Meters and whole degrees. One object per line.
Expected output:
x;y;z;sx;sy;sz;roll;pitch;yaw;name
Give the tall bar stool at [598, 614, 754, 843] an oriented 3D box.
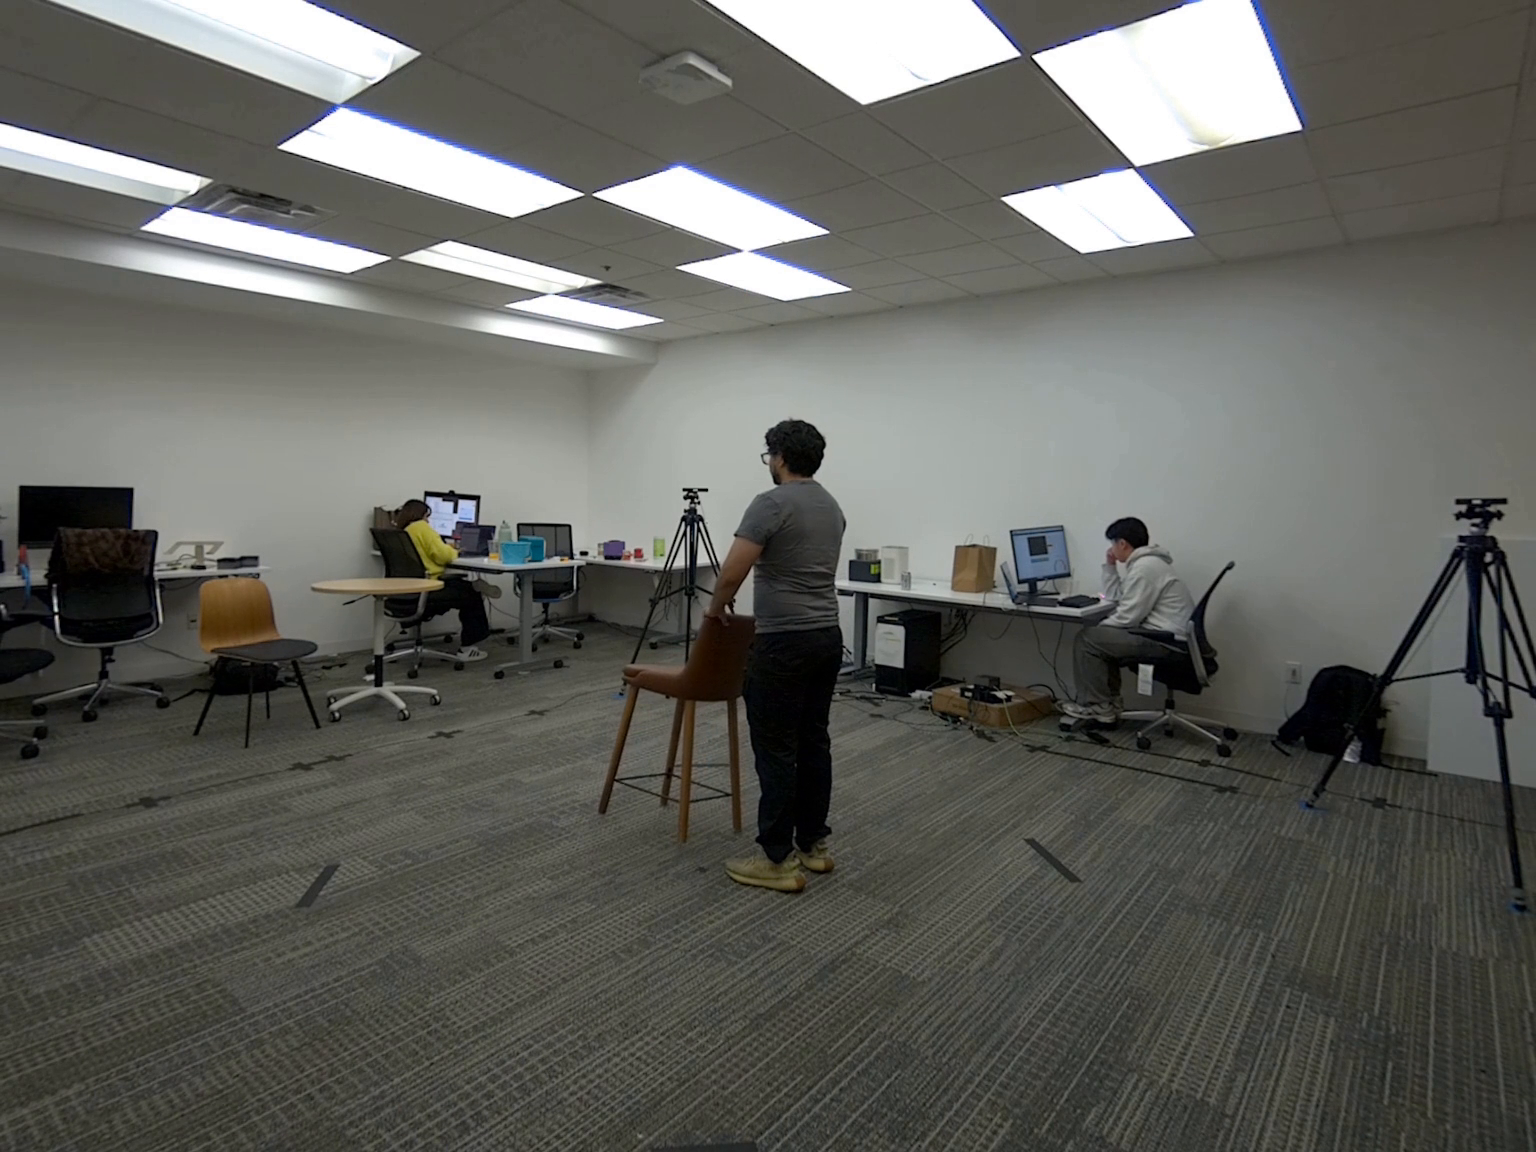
-0.345;0.567;3.494;0.483;0.891;0.440;7;-3;37;tall bar stool
